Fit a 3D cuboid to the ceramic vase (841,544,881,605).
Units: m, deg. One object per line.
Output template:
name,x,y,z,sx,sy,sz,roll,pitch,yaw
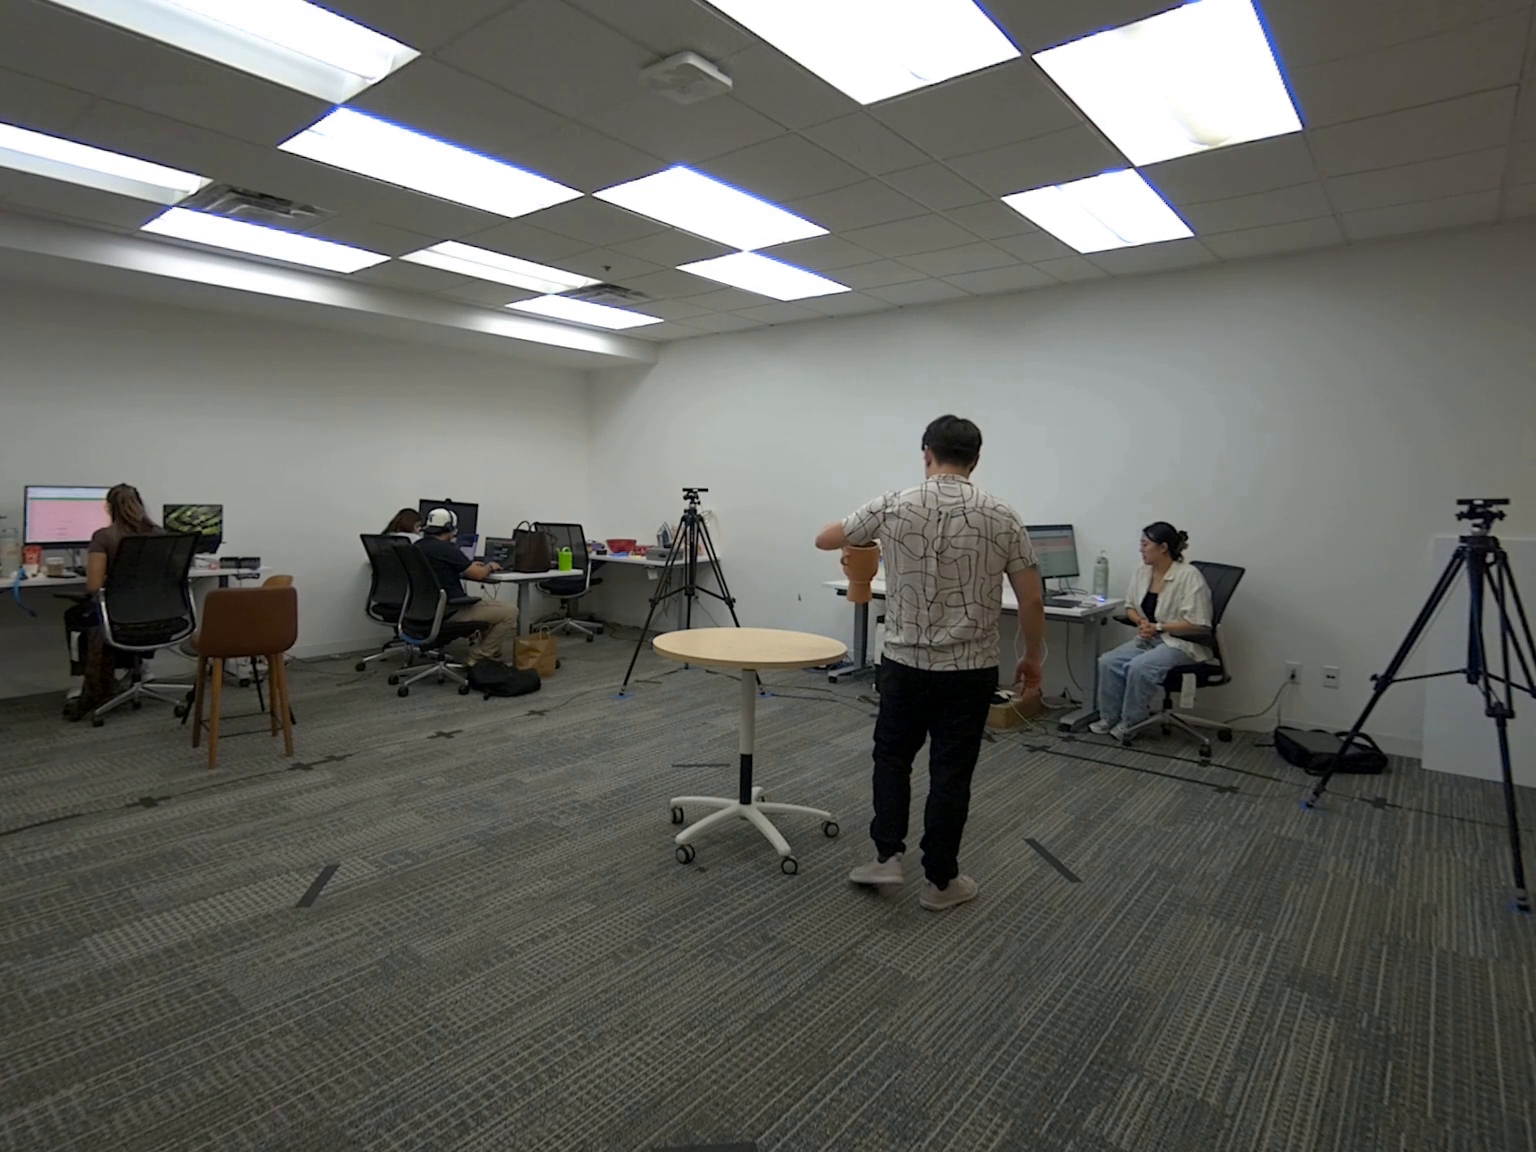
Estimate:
ceramic vase,0.334,-0.019,3.220,0.159,0.217,0.136,2,14,1
